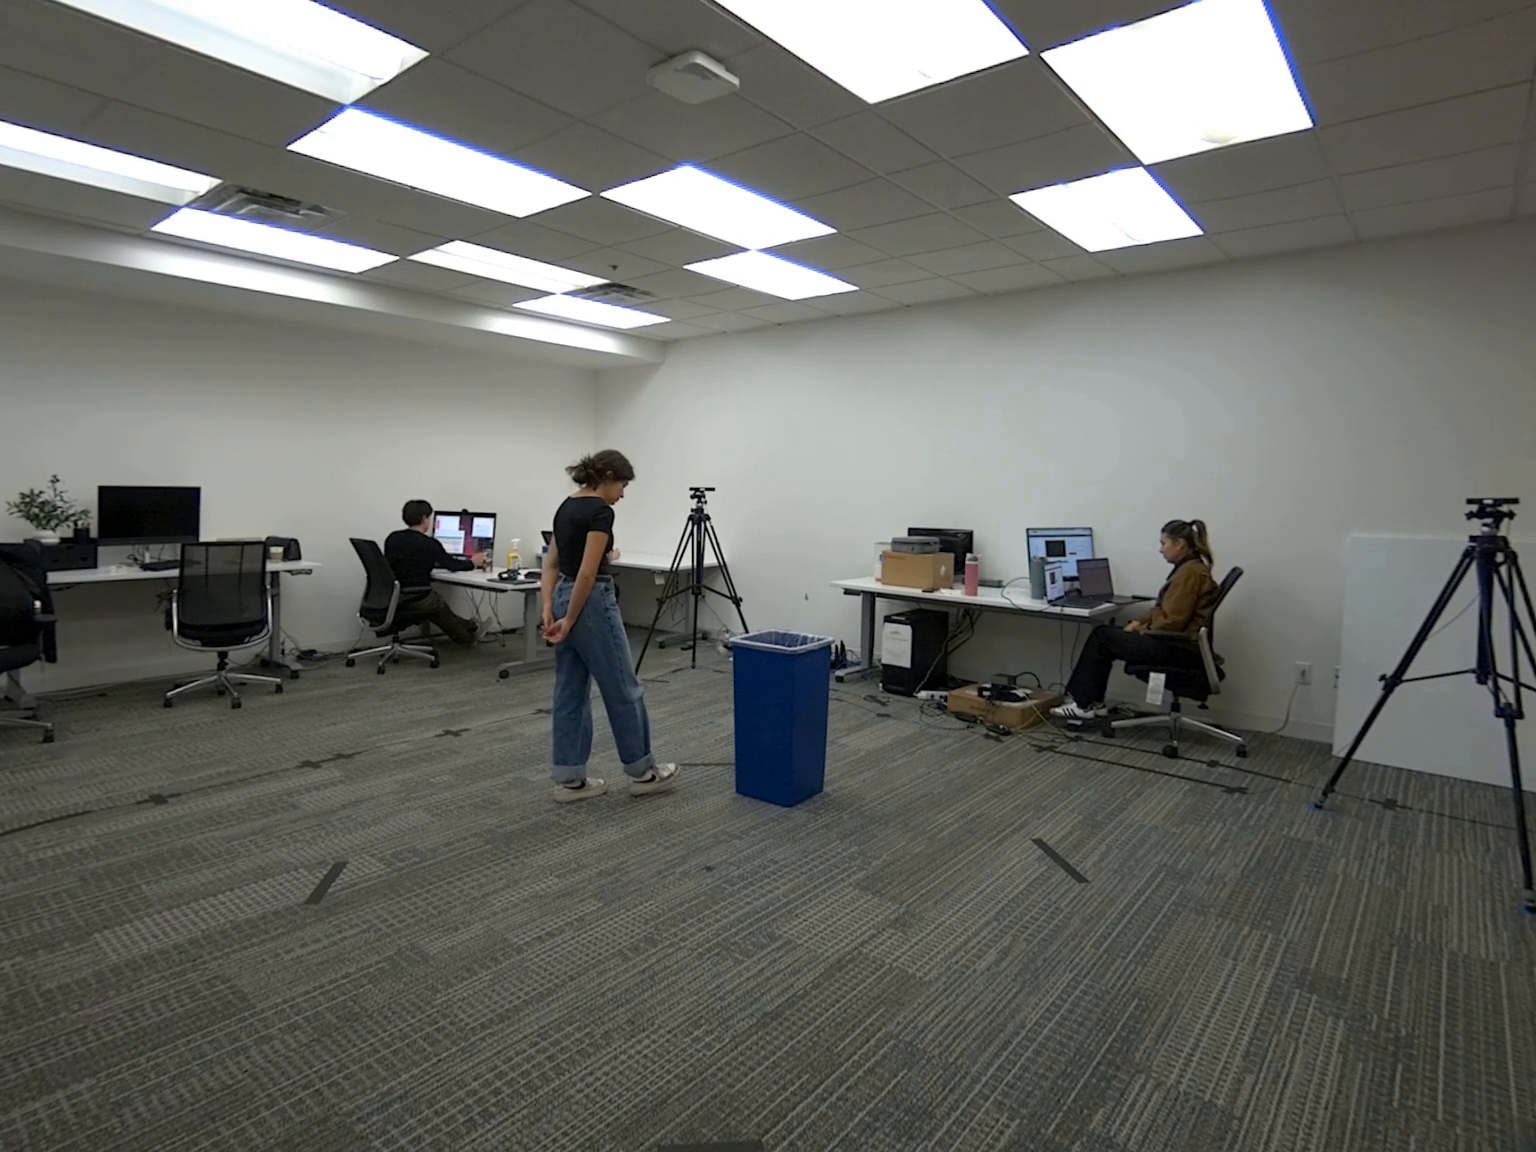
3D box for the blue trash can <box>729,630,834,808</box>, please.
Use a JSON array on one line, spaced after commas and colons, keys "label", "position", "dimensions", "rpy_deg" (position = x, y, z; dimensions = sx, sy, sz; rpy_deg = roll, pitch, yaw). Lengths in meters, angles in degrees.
[{"label": "blue trash can", "position": [0.061, 0.636, 3.904], "dimensions": [0.386, 0.712, 0.367], "rpy_deg": [3, 4, 36]}]
